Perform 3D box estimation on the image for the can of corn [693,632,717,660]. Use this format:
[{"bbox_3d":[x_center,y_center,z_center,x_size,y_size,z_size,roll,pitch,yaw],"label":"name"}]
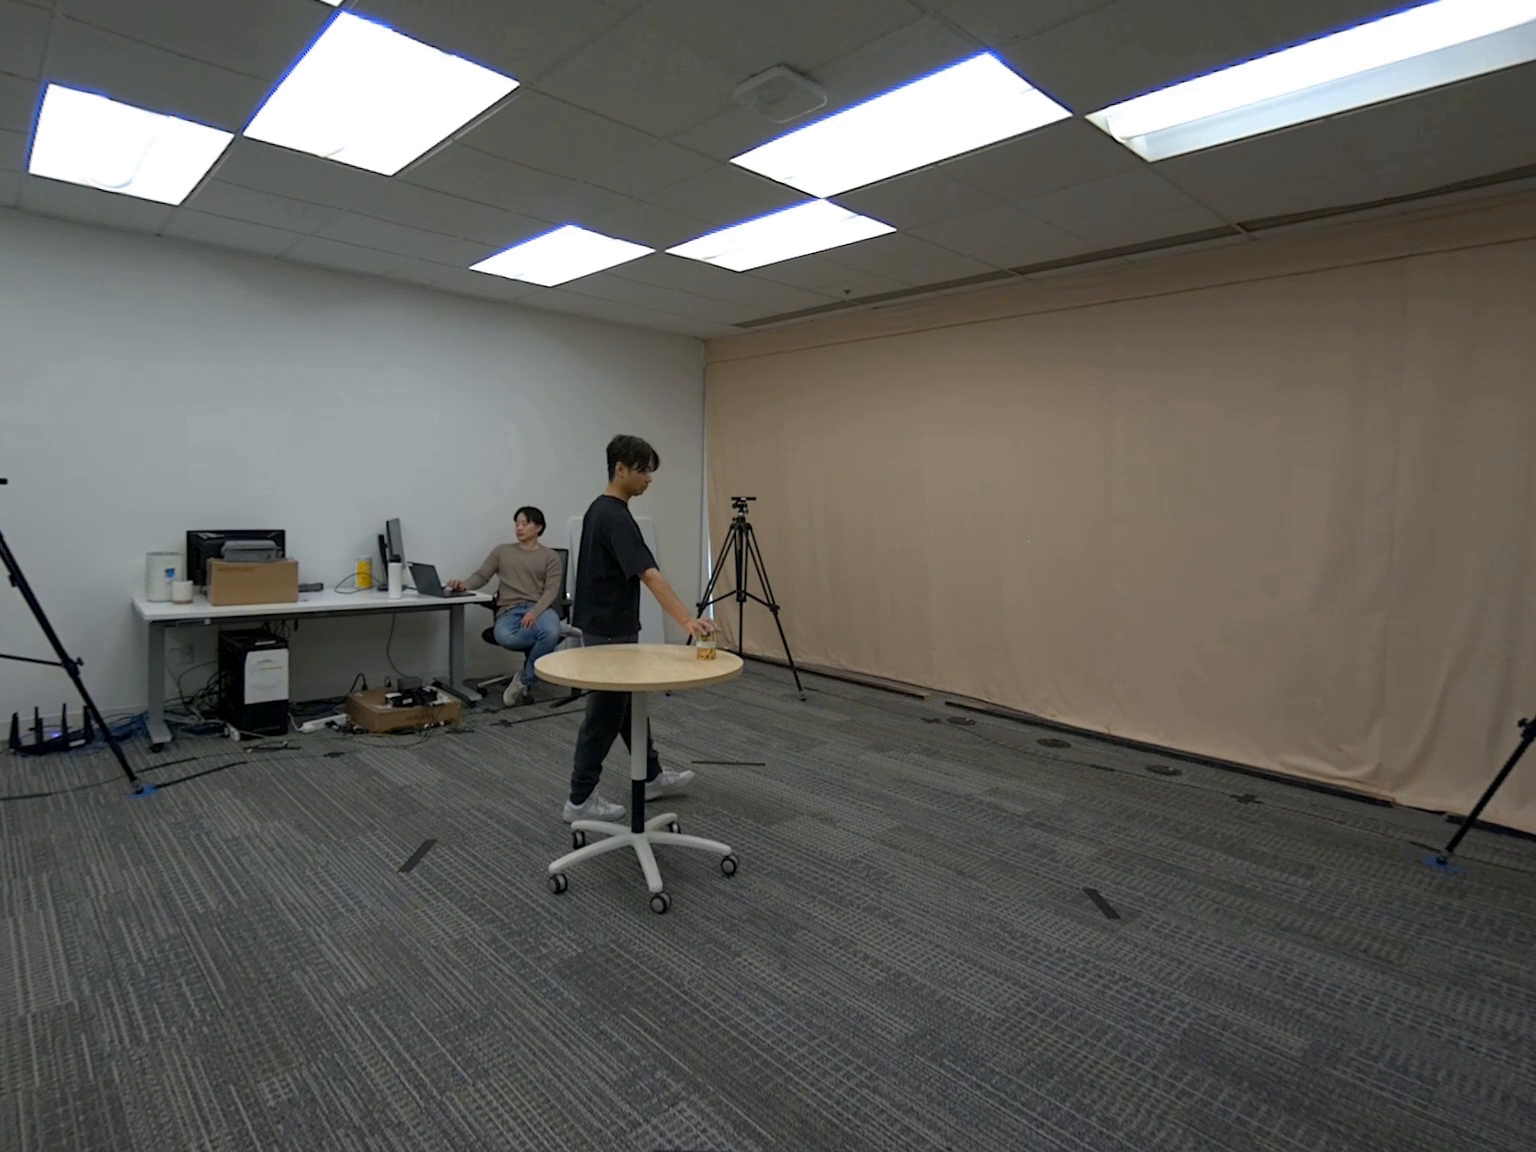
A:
[{"bbox_3d":[-0.247,0.257,3.183,0.074,0.111,0.074,0,1,-1],"label":"can of corn"}]
